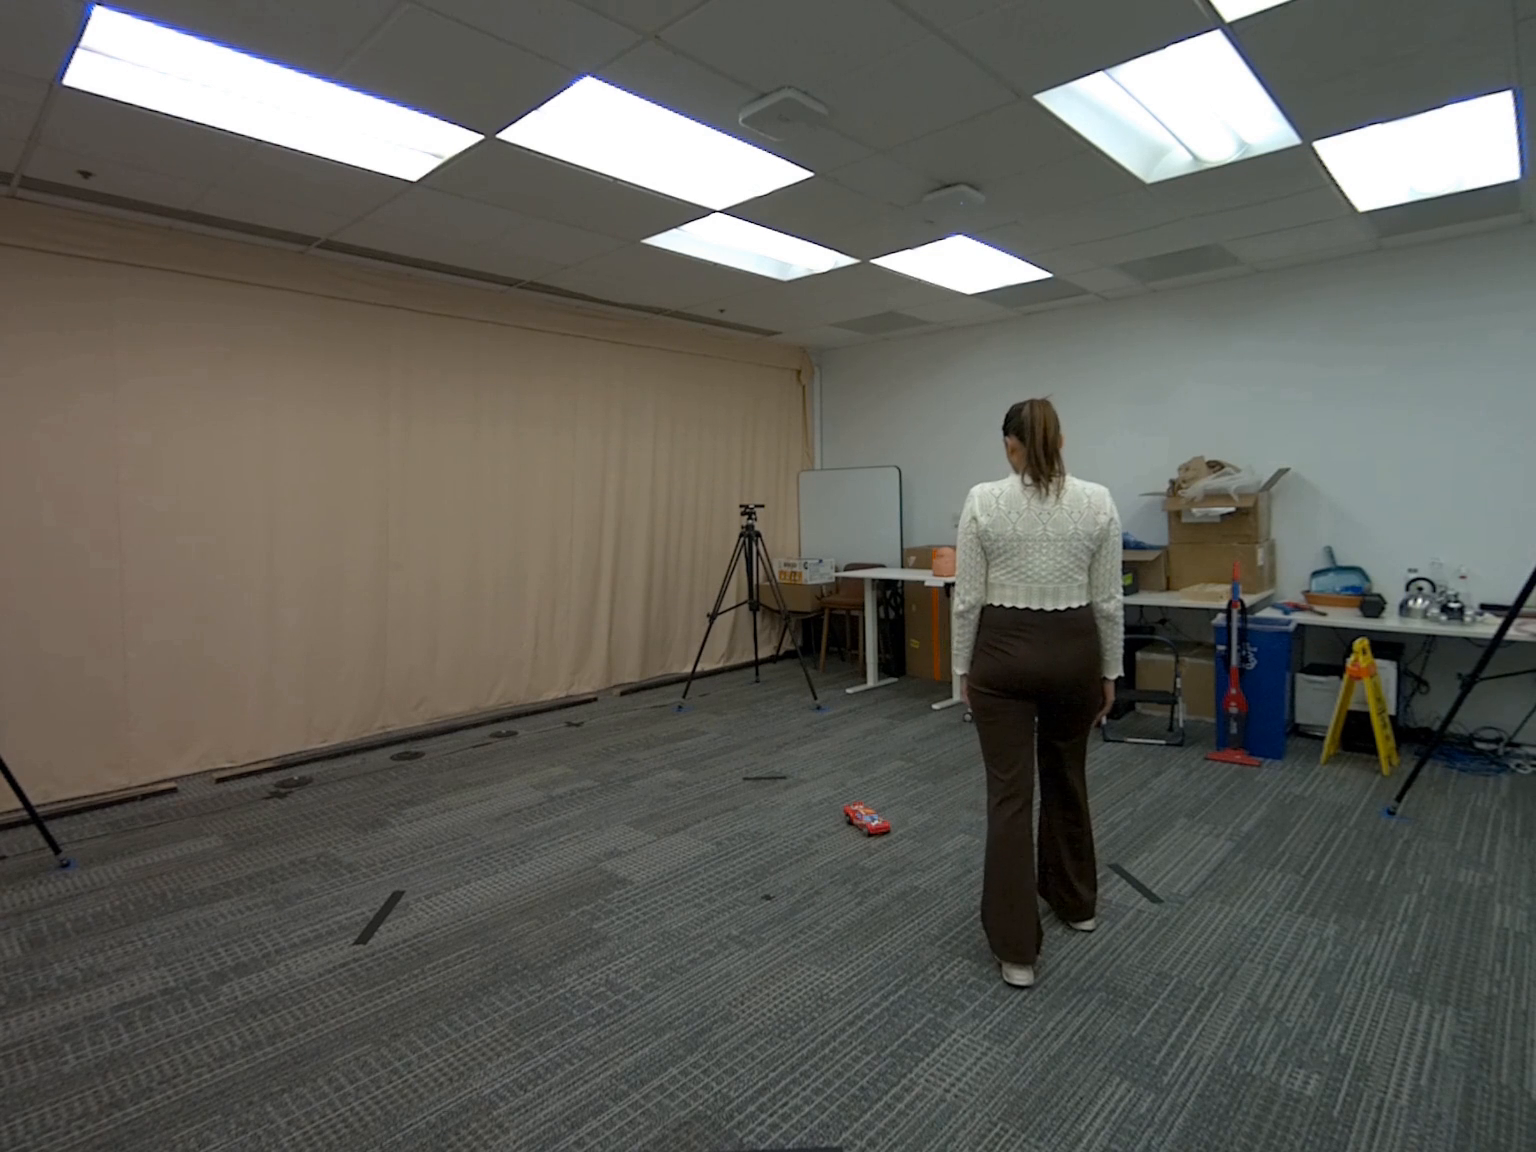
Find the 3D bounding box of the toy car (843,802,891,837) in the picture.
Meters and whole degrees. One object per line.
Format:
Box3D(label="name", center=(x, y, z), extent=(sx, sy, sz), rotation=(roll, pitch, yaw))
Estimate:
Box3D(label="toy car", center=(0.421, 1.045, 3.624), extent=(0.127, 0.082, 0.262), rotation=(-3, 16, -23))
